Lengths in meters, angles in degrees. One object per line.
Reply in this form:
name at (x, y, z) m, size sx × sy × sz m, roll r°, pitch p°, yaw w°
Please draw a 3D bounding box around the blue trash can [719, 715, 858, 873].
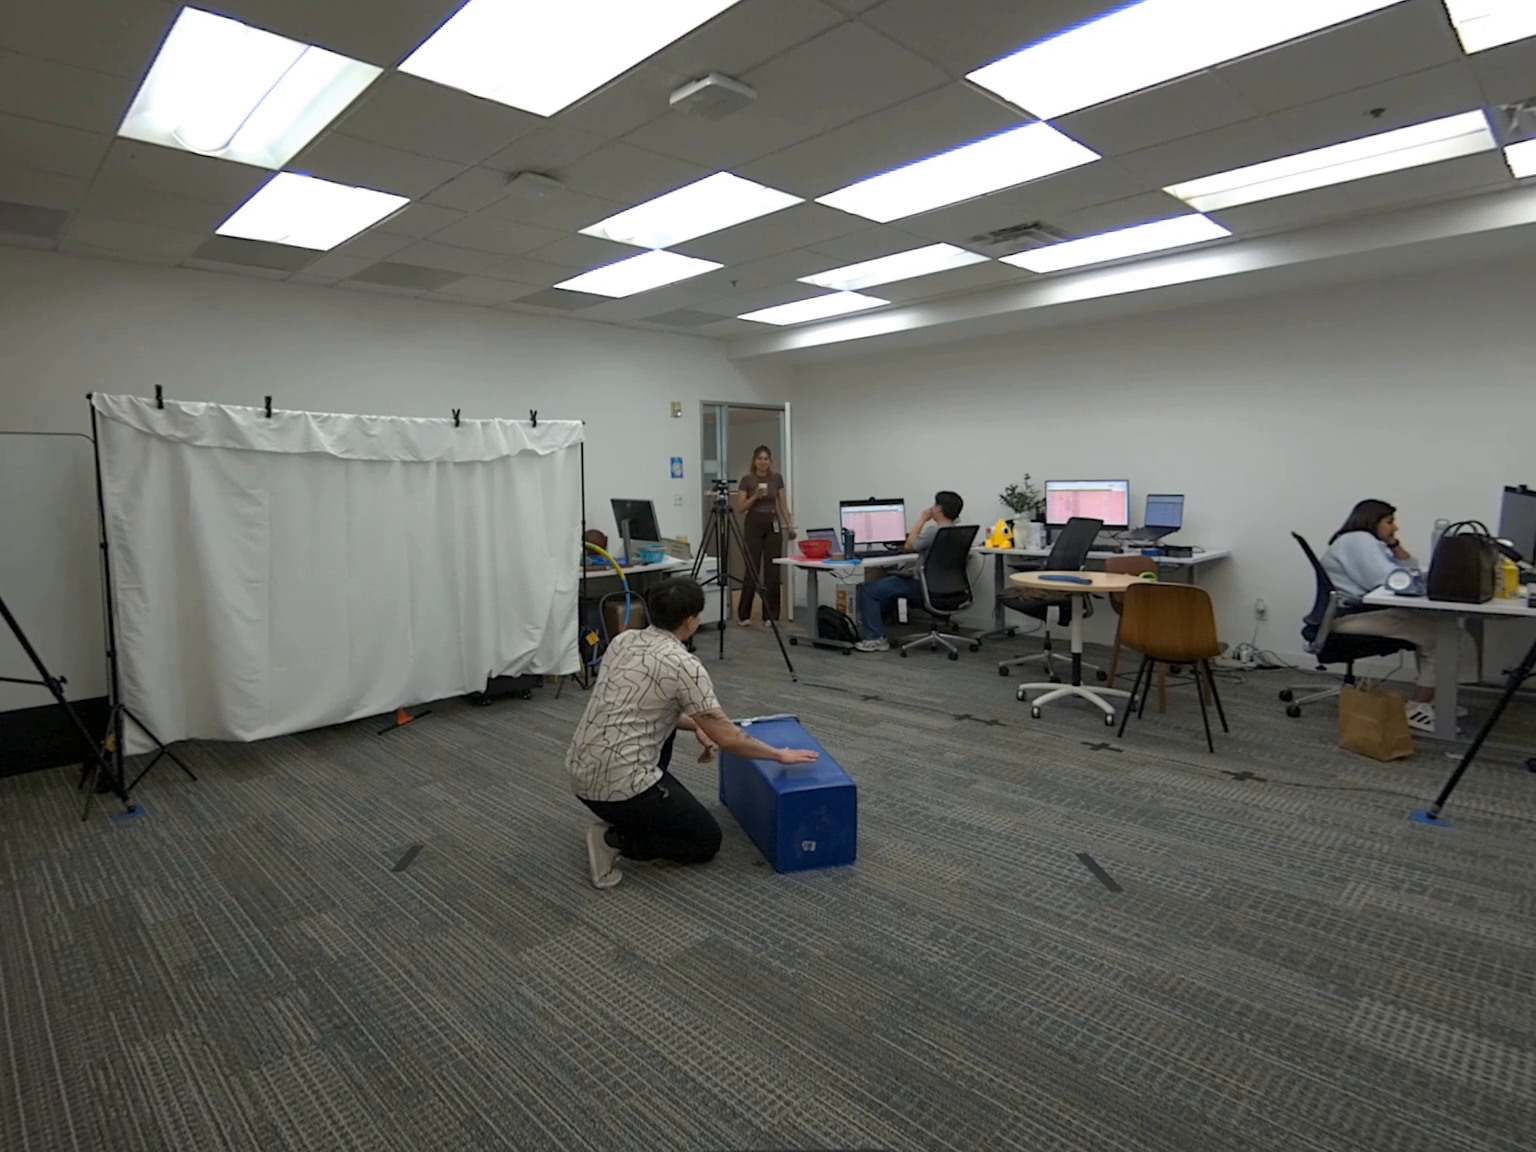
blue trash can at (0.062, 0.845, 3.380) m, size 0.373 × 0.371 × 0.729 m, roll -3°, pitch 9°, yaw -16°
